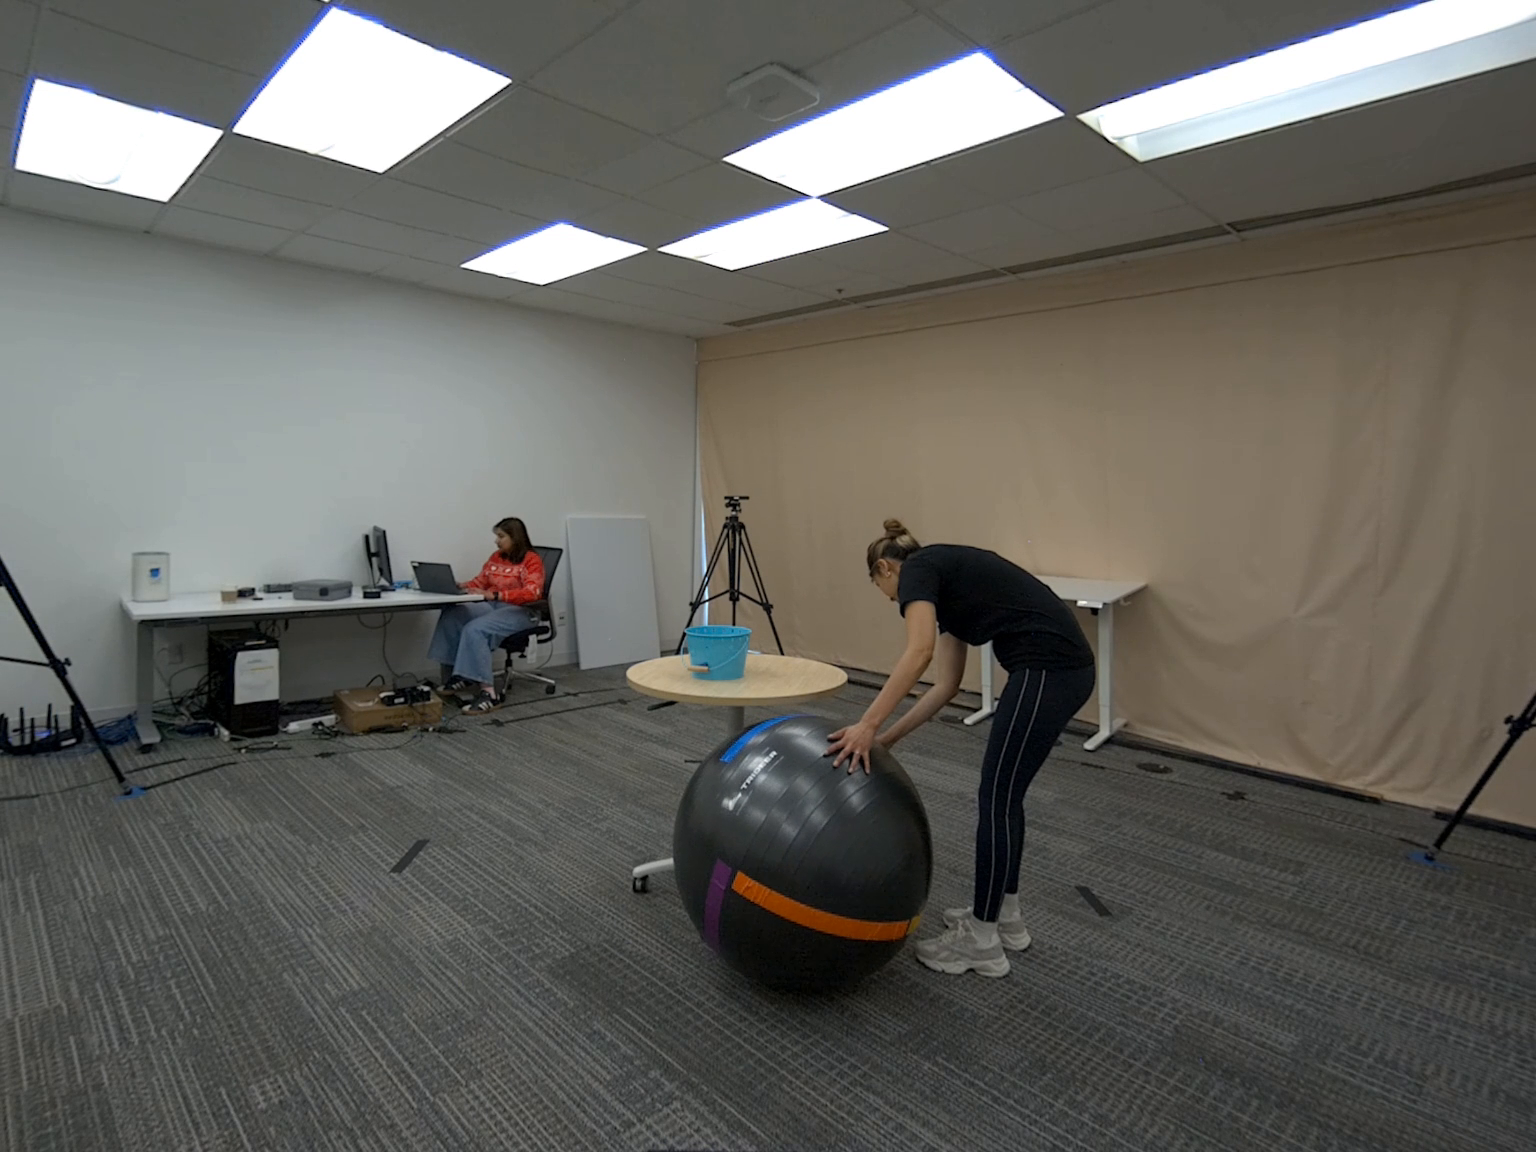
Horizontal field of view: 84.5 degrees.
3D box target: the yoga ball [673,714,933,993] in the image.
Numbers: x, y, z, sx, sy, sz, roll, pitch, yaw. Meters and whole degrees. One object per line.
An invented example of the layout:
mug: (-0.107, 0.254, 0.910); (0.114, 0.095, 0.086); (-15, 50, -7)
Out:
yoga ball: (0.099, 0.802, 2.463); (0.757, 0.756, 0.761); (1, 4, -1)
